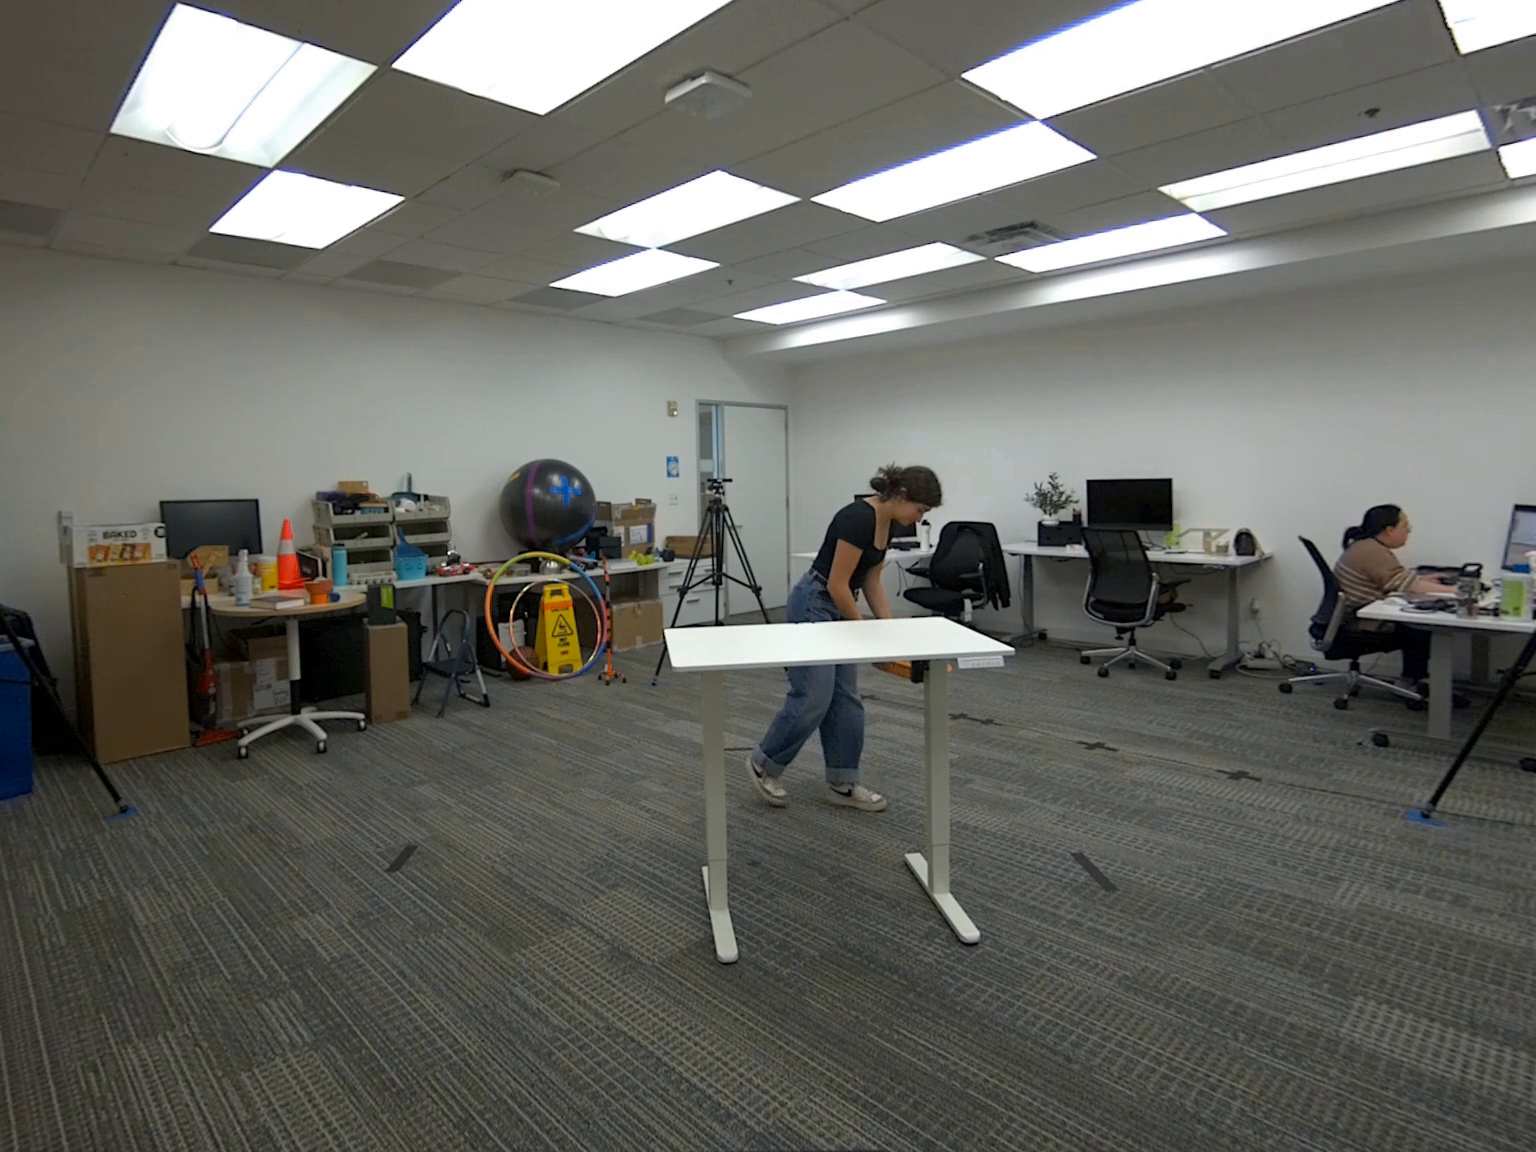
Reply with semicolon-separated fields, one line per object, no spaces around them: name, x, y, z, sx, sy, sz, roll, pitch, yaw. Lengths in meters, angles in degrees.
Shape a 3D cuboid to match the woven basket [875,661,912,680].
woven basket;0.575;0.361;3.466;0.361;0.073;0.246;14;11;32
